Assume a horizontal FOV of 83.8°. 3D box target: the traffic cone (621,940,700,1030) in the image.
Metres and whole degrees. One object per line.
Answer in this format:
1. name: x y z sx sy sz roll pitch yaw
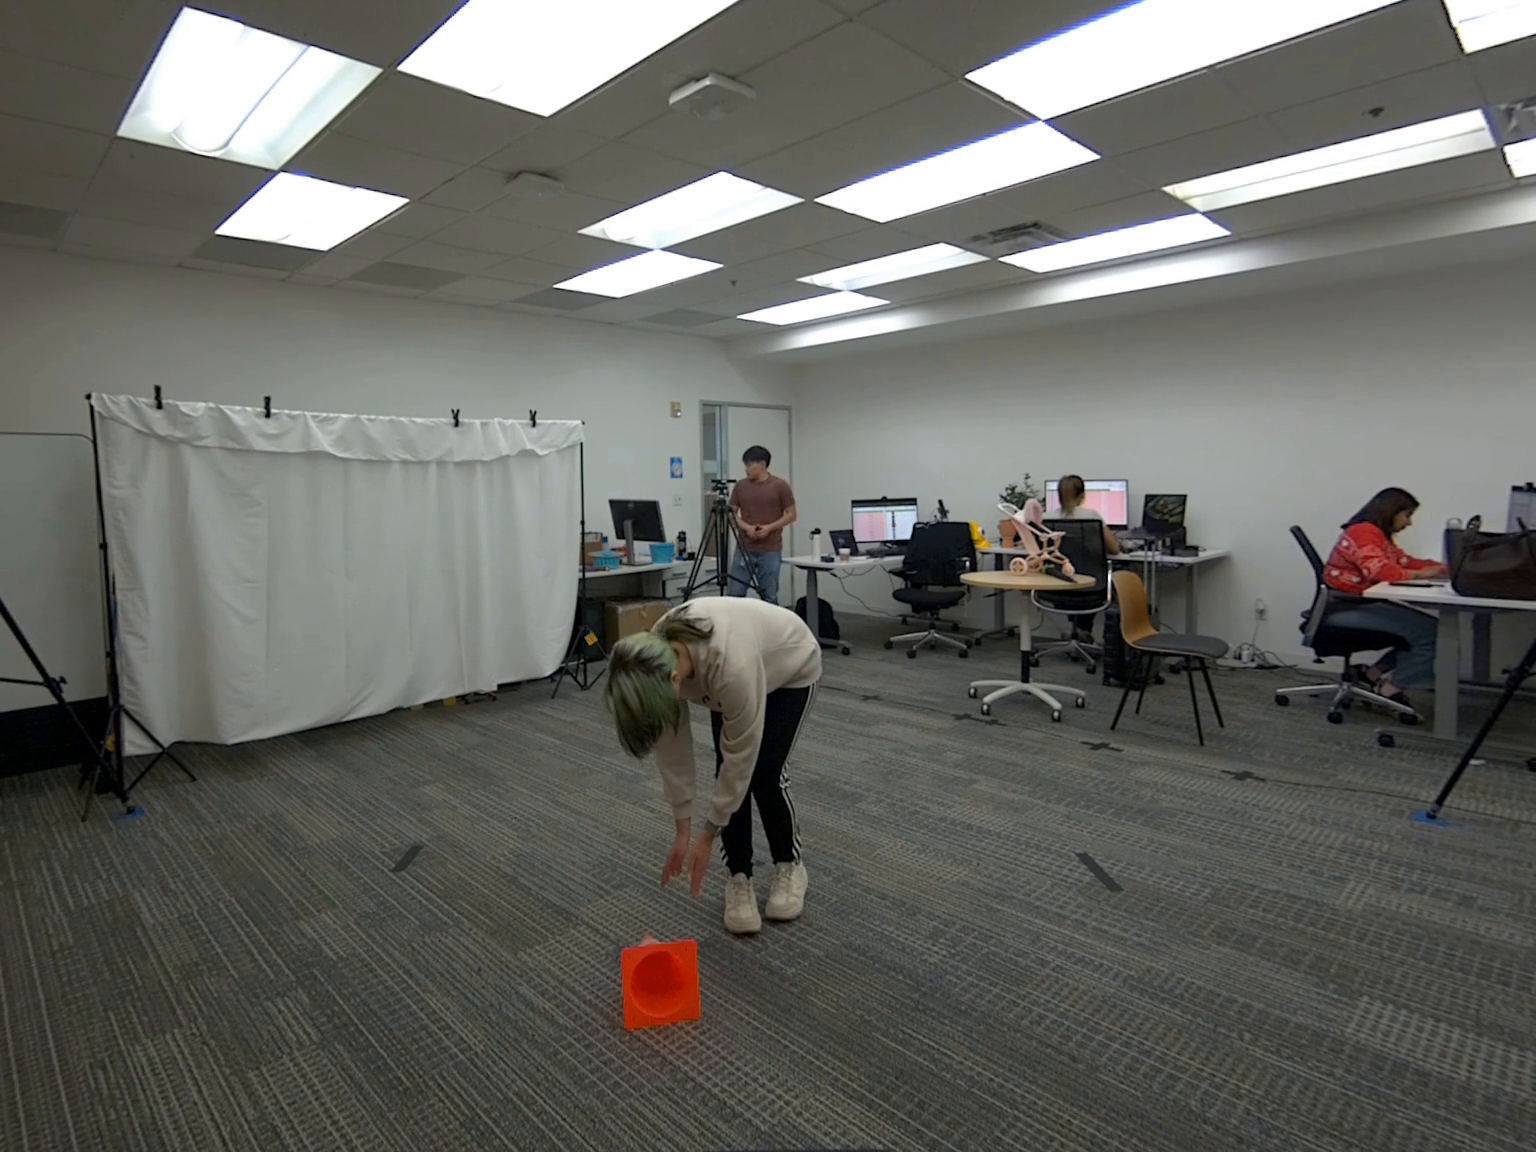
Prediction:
1. traffic cone: -0.323 1.085 2.405 0.203 0.205 0.385 -5 -6 -13
